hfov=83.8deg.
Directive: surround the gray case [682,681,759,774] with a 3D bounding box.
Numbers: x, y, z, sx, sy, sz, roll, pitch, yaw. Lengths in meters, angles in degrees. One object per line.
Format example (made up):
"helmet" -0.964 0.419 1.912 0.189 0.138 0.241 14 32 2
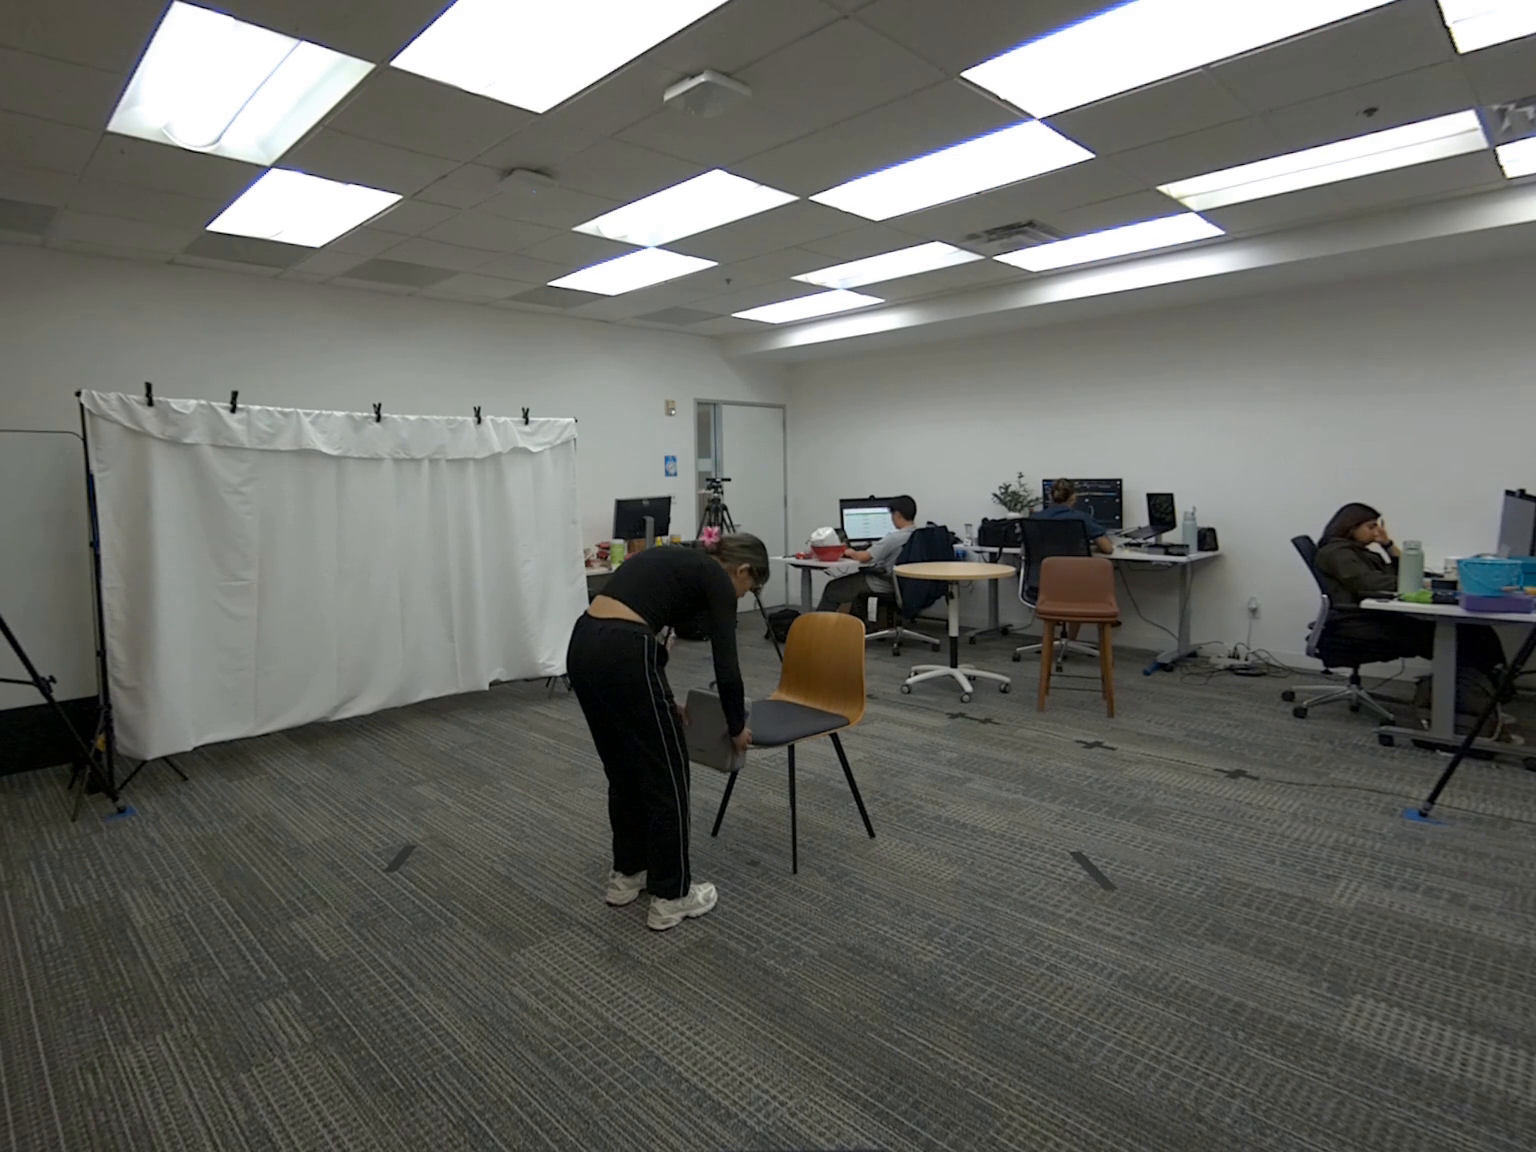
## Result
"gray case" -0.177 0.518 2.956 0.101 0.261 0.265 13 -6 -43
